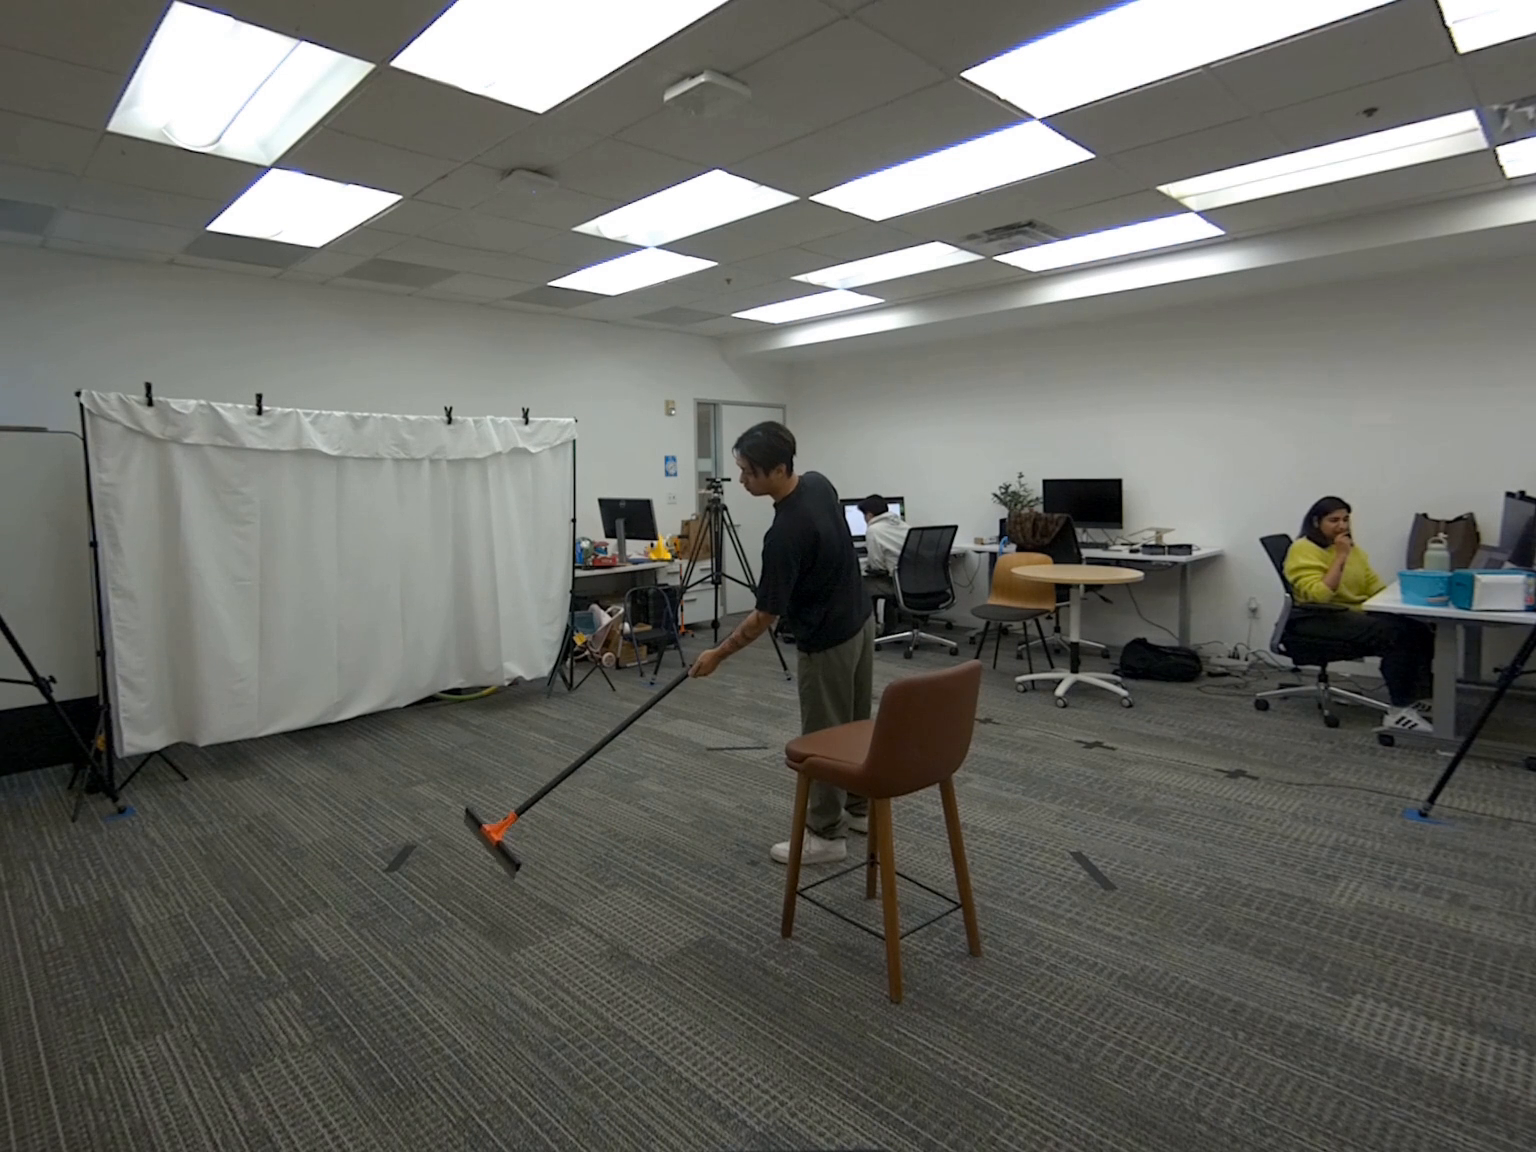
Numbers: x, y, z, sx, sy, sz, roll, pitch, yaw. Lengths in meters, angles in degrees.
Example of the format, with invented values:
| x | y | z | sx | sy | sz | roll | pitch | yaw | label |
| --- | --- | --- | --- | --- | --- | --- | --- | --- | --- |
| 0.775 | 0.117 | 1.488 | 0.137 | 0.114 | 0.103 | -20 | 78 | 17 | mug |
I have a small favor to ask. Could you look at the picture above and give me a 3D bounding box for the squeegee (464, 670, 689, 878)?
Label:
| x | y | z | sx | sy | sz | roll | pitch | yaw | label |
| --- | --- | --- | --- | --- | --- | --- | --- | --- | --- |
| -0.345 | 0.394 | 2.978 | 1.530 | 0.051 | 0.452 | -39 | 30 | -26 | squeegee |
